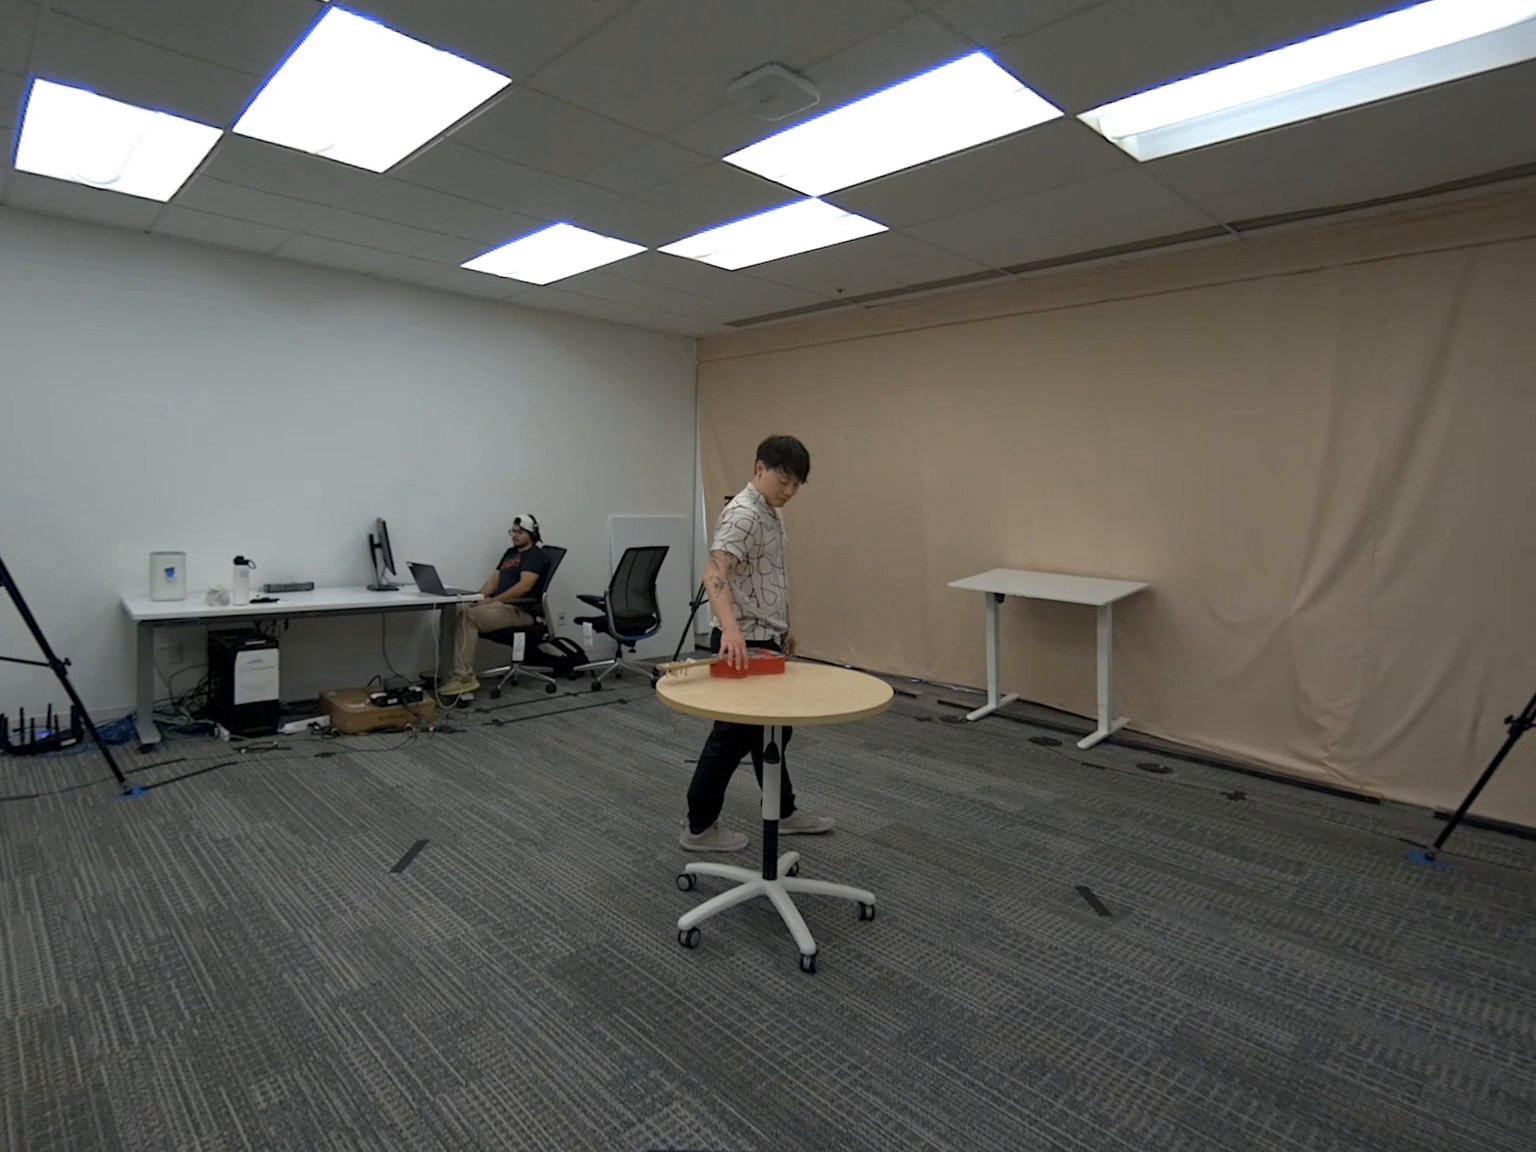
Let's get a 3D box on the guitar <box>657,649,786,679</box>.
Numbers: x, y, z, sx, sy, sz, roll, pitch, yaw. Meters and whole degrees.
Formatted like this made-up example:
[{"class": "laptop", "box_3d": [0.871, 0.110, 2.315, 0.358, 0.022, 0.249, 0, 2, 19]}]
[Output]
[{"class": "guitar", "box_3d": [-0.182, 0.308, 2.888, 0.488, 0.070, 0.197, -3, 6, -30]}]
